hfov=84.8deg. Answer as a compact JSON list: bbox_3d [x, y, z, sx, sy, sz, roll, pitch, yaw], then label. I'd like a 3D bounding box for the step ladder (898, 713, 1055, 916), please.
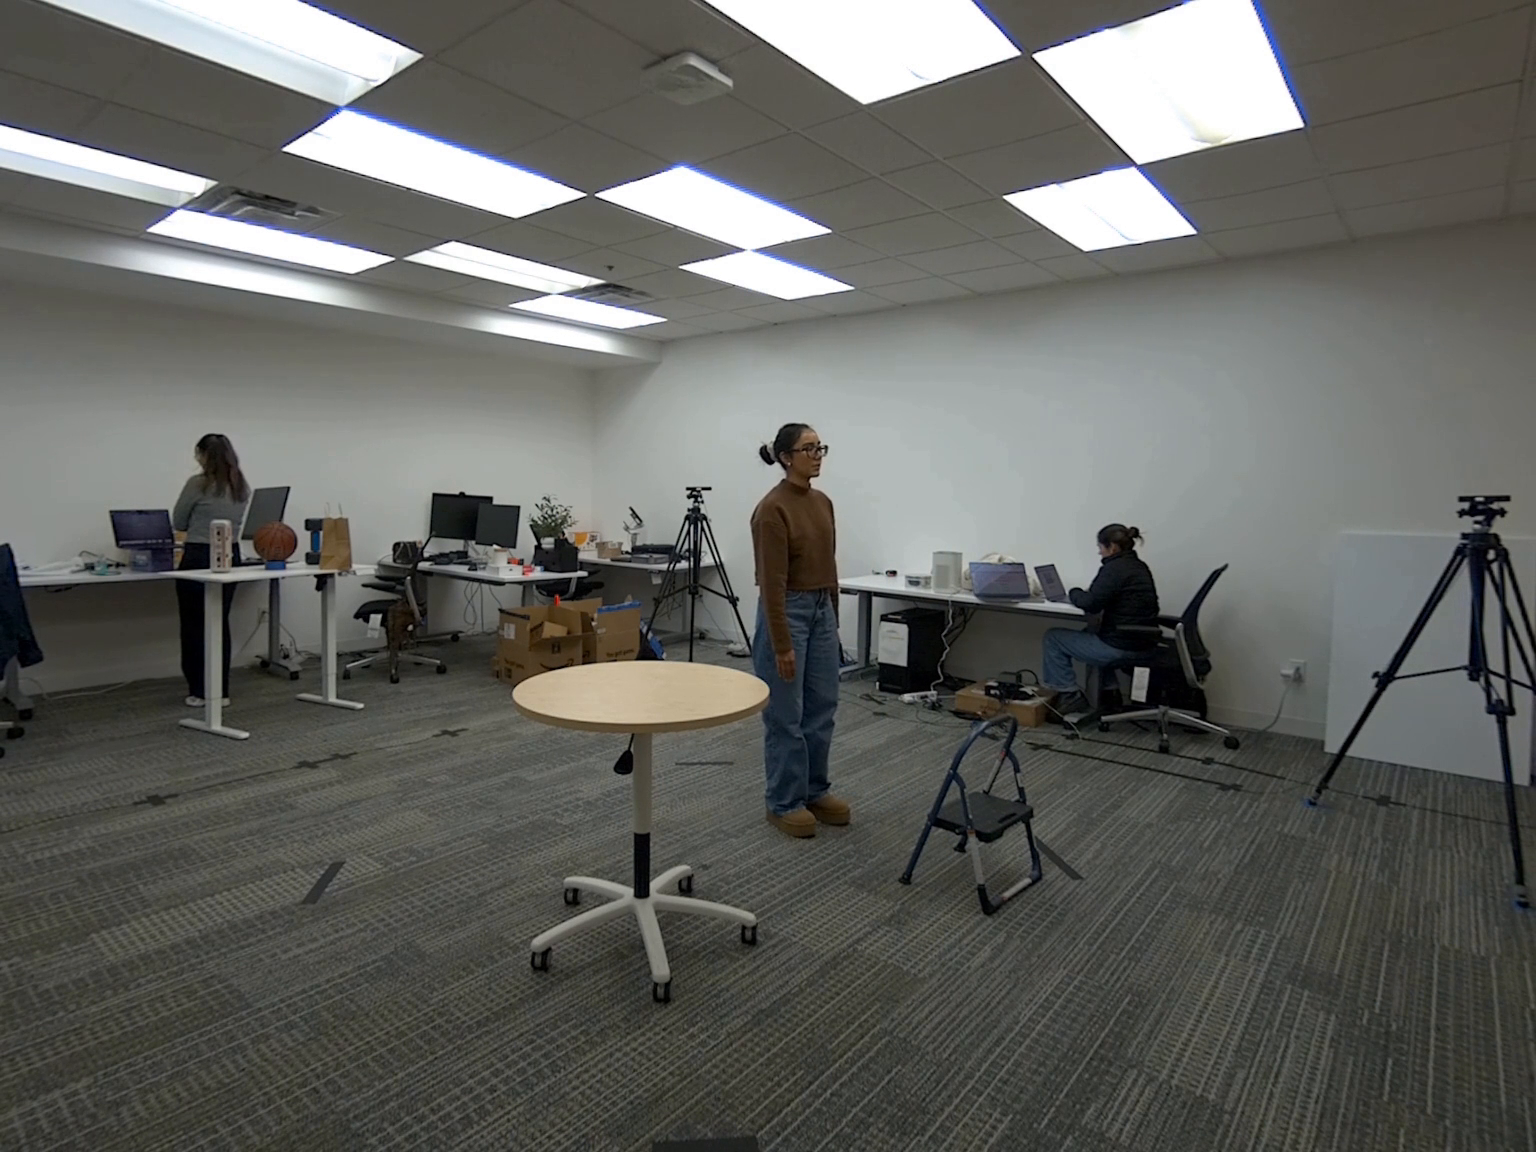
[{"bbox_3d":[0.737,0.793,3.047,0.361,0.604,0.417,4,4,42],"label":"step ladder"}]
